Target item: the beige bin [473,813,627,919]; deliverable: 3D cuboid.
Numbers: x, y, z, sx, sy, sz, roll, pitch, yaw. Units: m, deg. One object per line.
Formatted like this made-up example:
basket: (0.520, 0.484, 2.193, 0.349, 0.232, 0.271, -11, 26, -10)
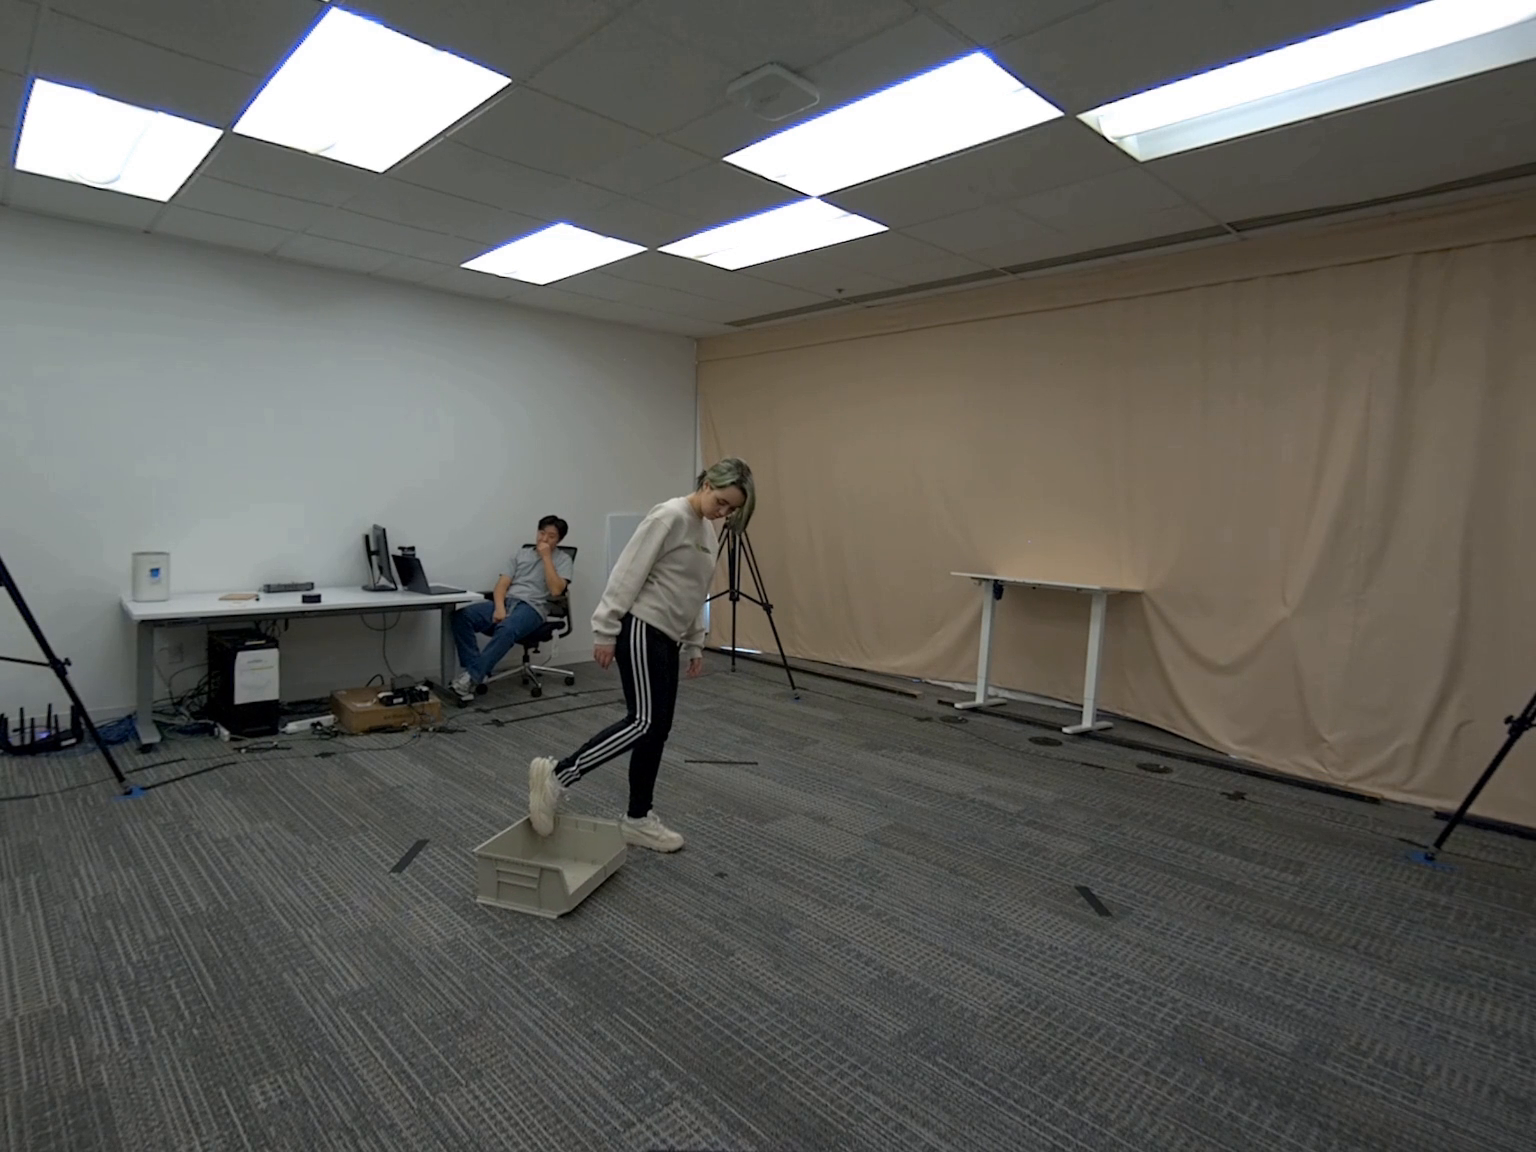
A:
beige bin: (-0.773, 1.013, 2.975, 0.383, 0.188, 0.417, 2, 4, 18)
